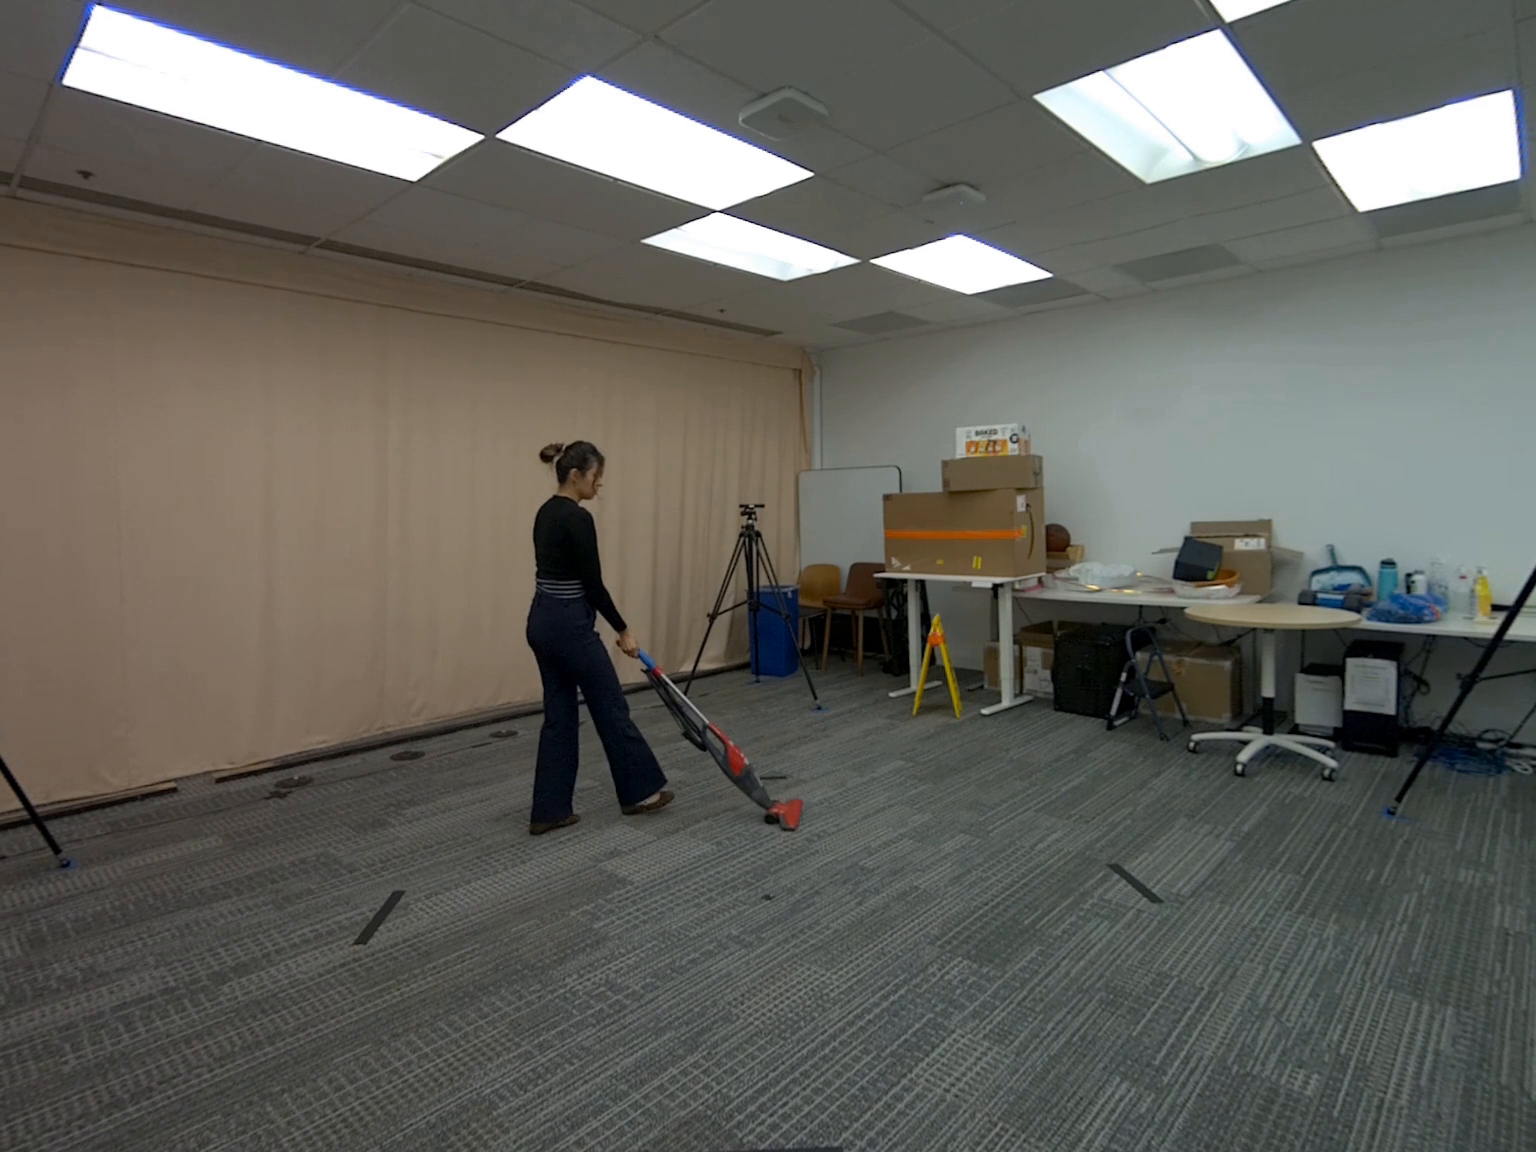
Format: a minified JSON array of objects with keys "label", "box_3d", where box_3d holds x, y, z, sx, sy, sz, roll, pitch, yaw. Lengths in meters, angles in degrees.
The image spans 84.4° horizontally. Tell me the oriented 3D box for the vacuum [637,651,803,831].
[{"label":"vacuum","box_3d":[-0.273,0.676,3.718,0.145,1.051,0.250,-43,-1,18]}]
